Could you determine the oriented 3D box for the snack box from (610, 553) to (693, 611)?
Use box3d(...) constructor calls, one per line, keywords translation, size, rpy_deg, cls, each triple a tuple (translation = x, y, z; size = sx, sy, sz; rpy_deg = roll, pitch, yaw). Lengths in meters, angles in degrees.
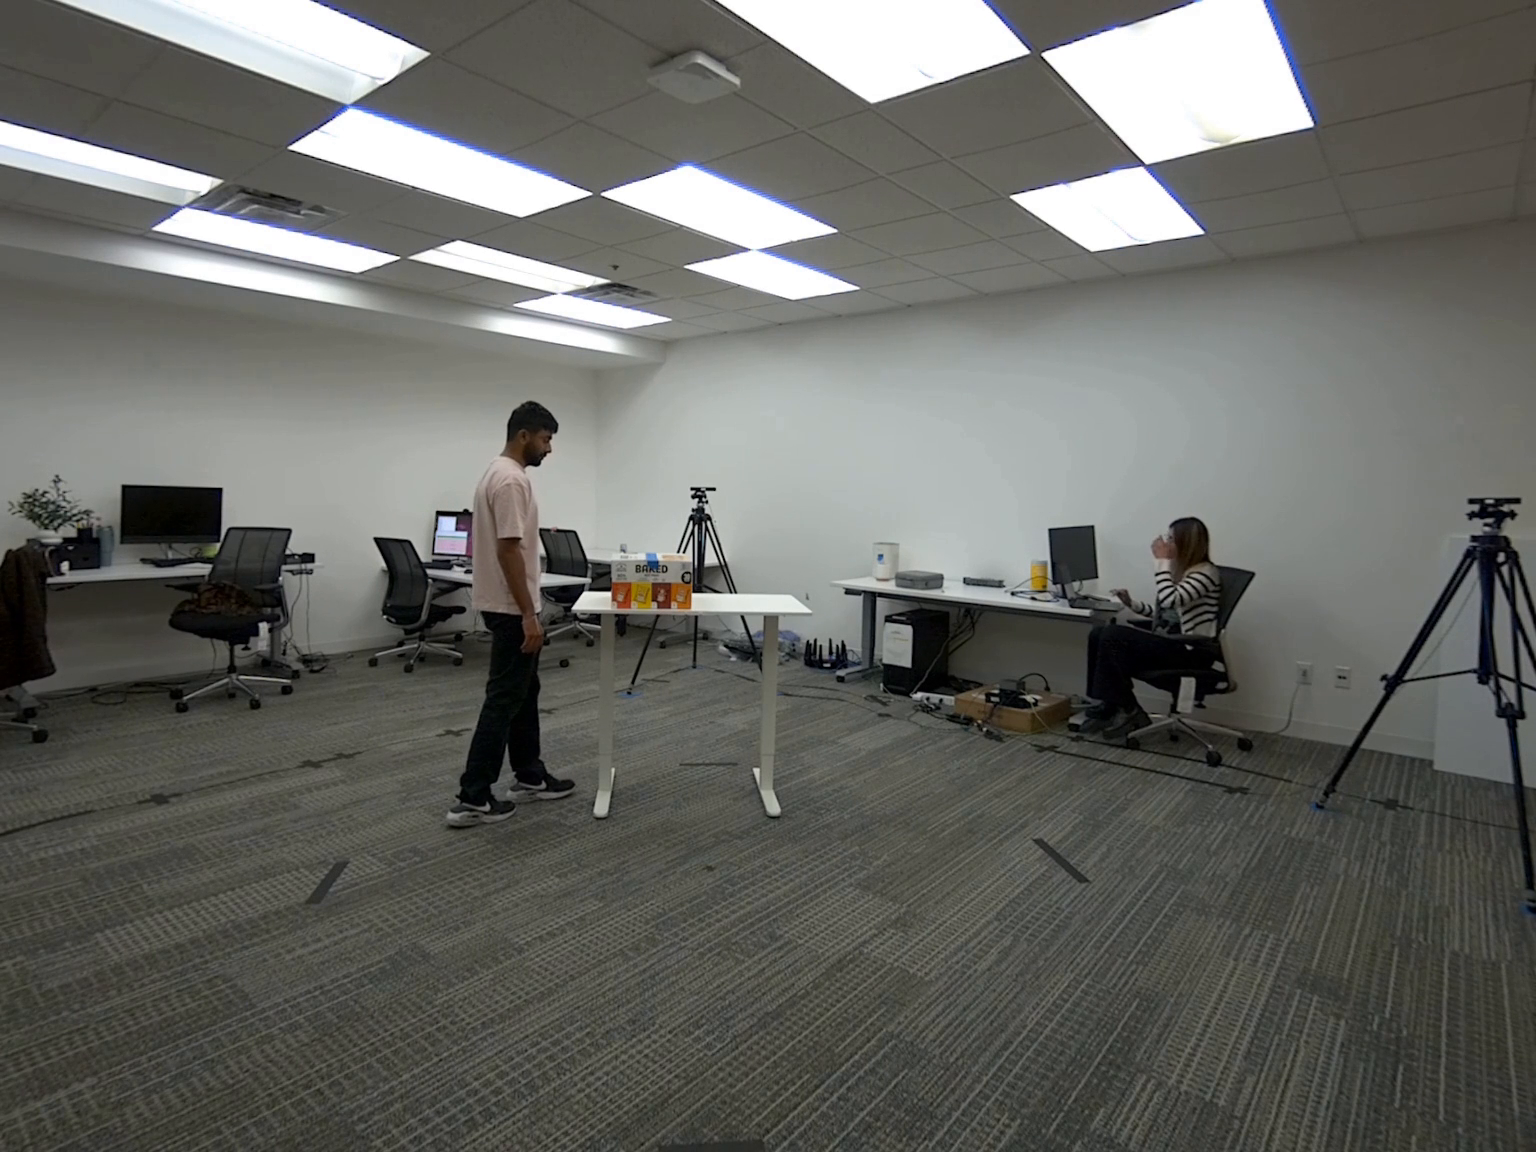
box3d(translation=(-0.532, 0.014, 3.749), size=(0.337, 0.205, 0.410), rpy_deg=(1, 5, -9), cls="snack box")
